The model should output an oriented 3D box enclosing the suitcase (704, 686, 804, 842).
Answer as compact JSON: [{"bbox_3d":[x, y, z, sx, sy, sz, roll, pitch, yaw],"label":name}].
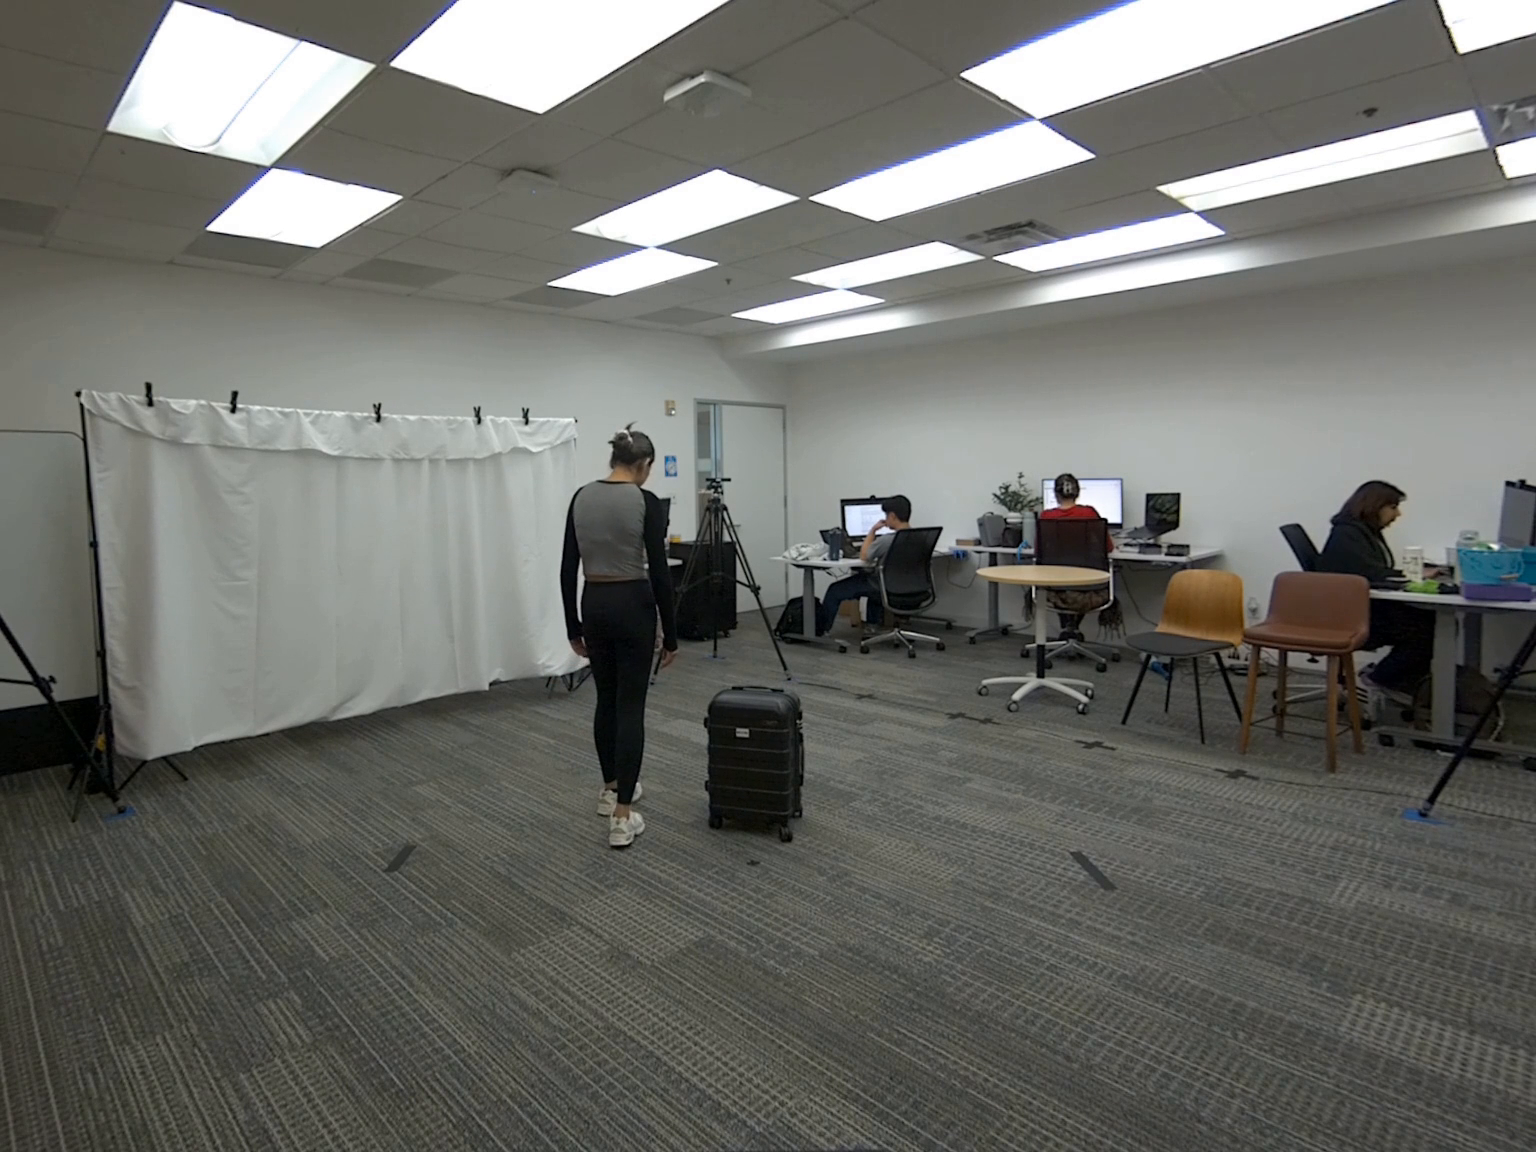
[{"bbox_3d":[-0.050,0.728,3.438,0.382,0.547,0.245,1,5,19],"label":"suitcase"}]
